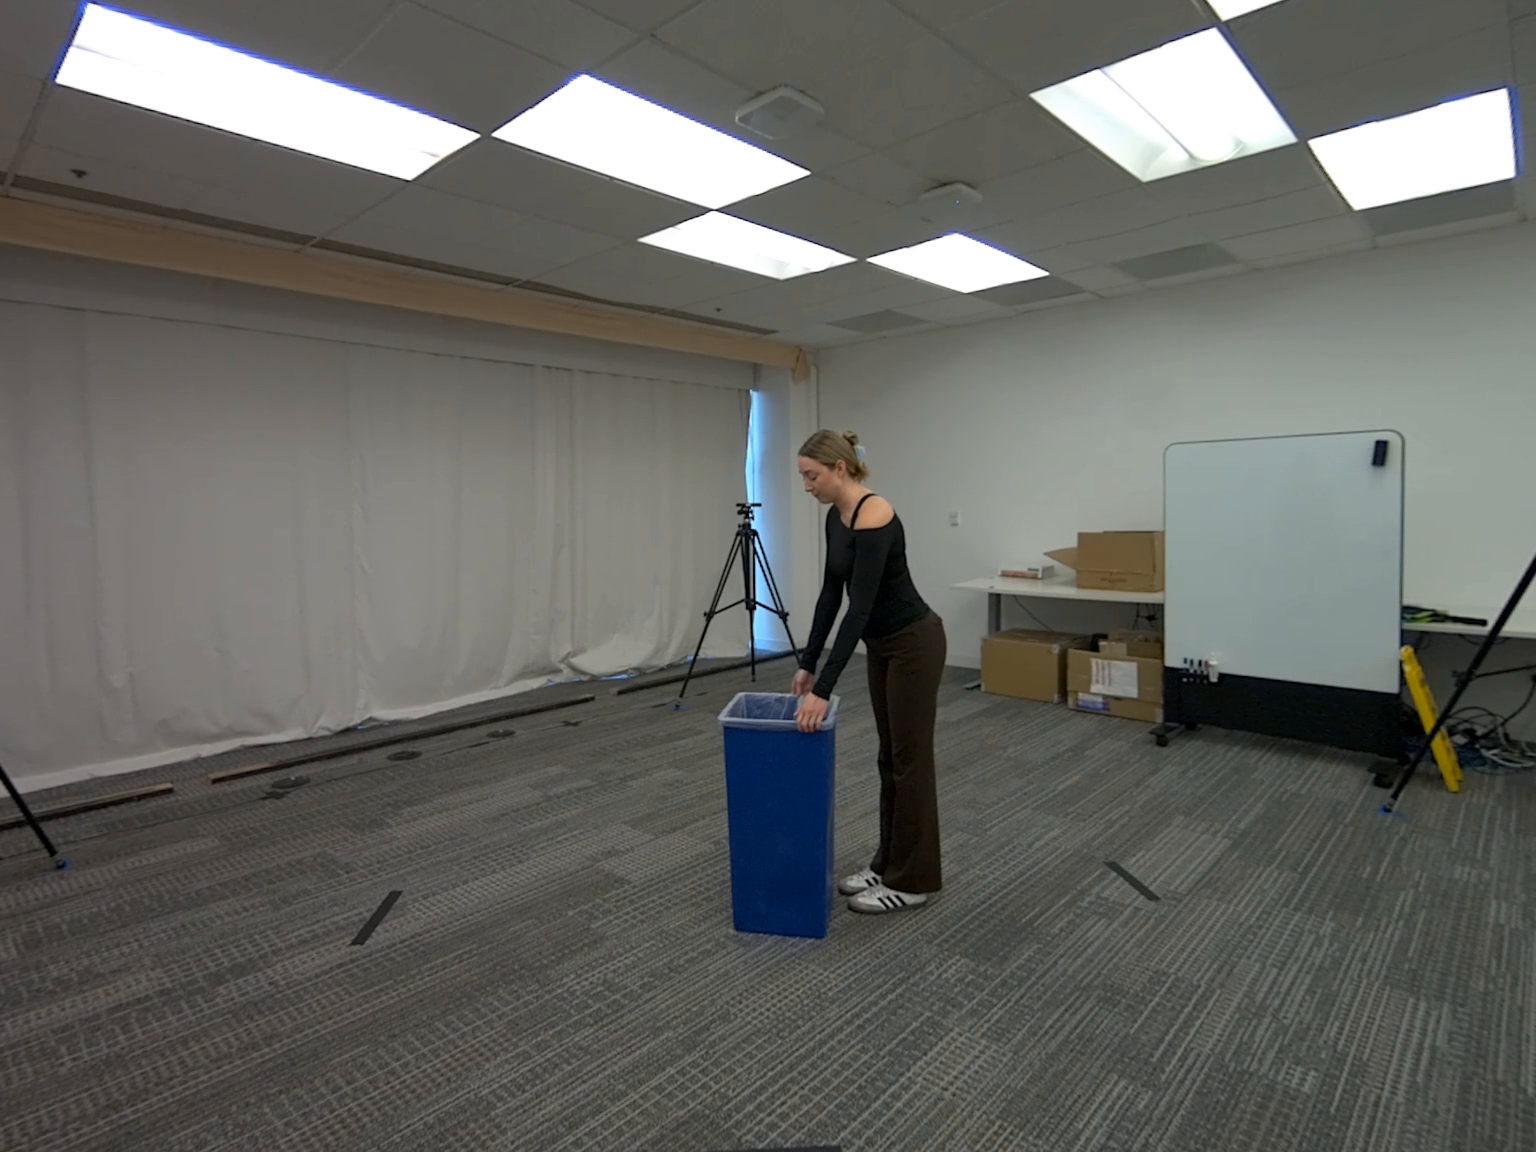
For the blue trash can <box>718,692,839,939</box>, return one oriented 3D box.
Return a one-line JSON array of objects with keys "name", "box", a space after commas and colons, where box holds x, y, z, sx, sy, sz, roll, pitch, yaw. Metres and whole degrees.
[{"name": "blue trash can", "box": [0.058, 0.792, 2.832, 0.383, 0.712, 0.370, -1, 3, 10]}]
